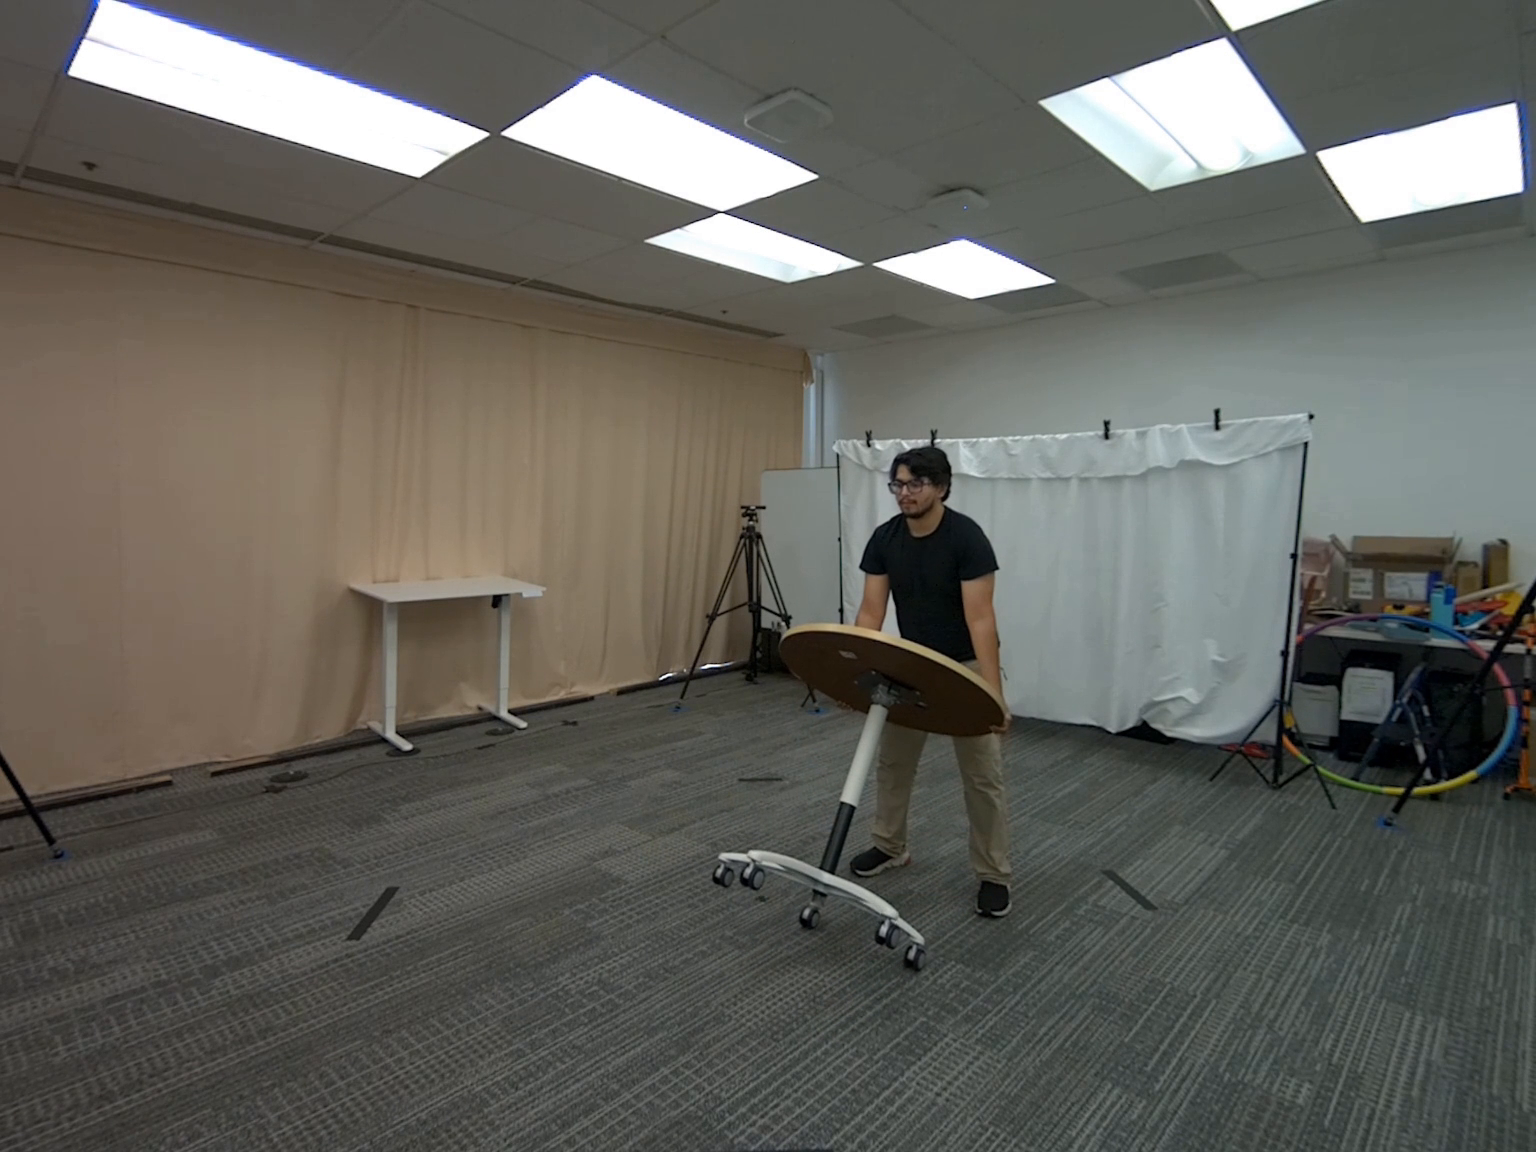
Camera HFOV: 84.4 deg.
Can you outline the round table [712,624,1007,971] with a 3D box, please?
[{"bbox_3d":[0.275,0.692,2.663,0.793,0.789,0.775,20,-23,7],"label":"round table"}]
